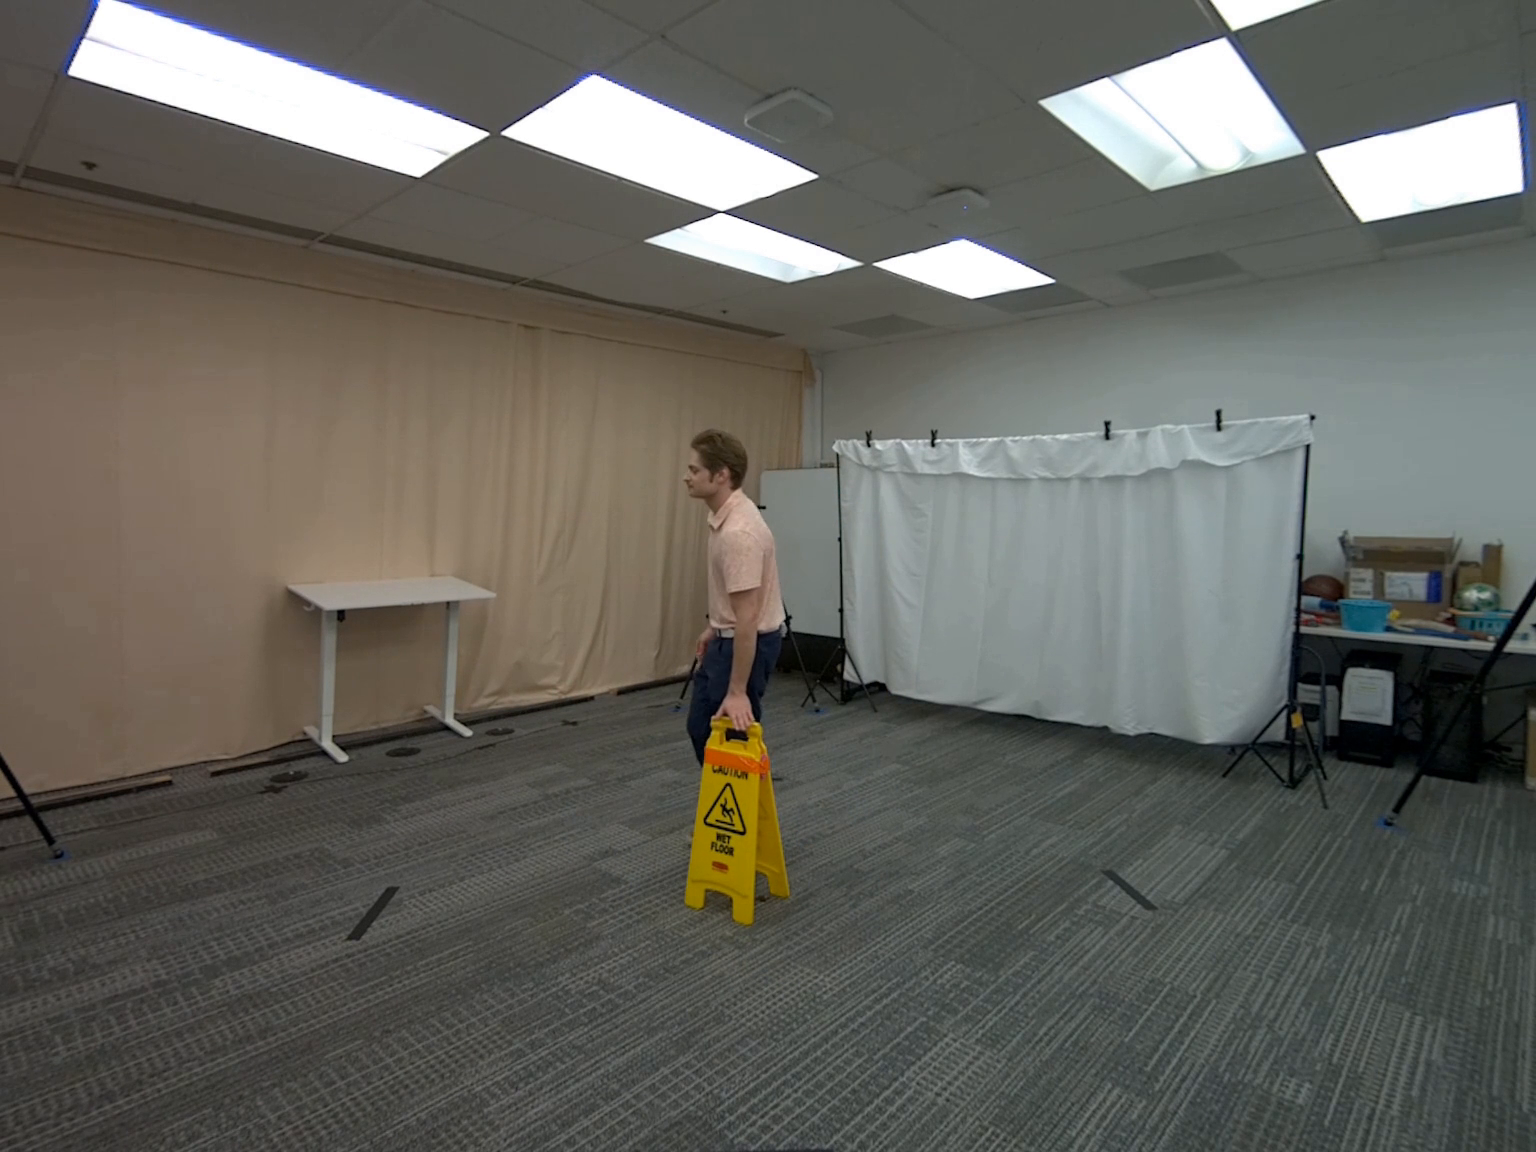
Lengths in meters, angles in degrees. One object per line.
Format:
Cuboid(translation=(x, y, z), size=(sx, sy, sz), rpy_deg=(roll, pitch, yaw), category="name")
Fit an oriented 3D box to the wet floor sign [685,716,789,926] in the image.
Cuboid(translation=(-0.104, 0.818, 2.957), size=(0.291, 0.645, 0.281), rpy_deg=(2, 3, 34), category="wet floor sign")
